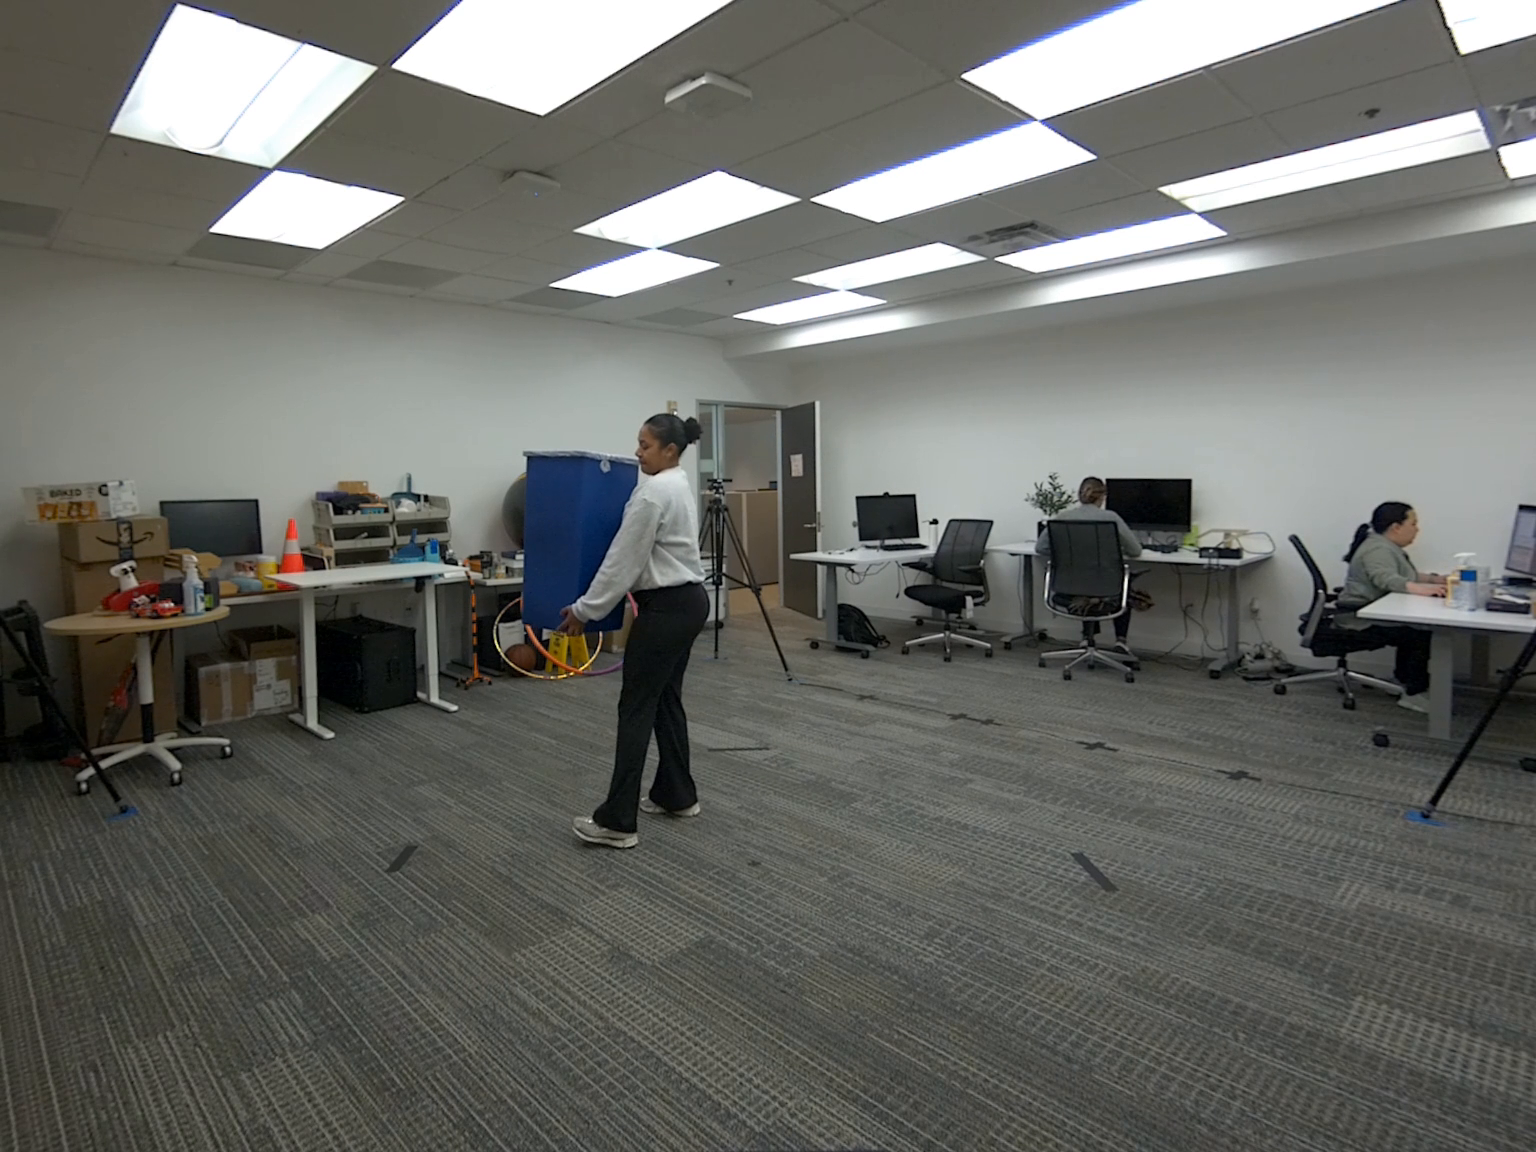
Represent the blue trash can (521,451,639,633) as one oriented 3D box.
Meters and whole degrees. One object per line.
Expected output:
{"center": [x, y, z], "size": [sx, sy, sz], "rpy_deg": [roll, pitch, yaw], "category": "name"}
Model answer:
{"center": [-0.780, -0.152, 3.538], "size": [0.389, 0.713, 0.363], "rpy_deg": [5, 1, 34], "category": "blue trash can"}
